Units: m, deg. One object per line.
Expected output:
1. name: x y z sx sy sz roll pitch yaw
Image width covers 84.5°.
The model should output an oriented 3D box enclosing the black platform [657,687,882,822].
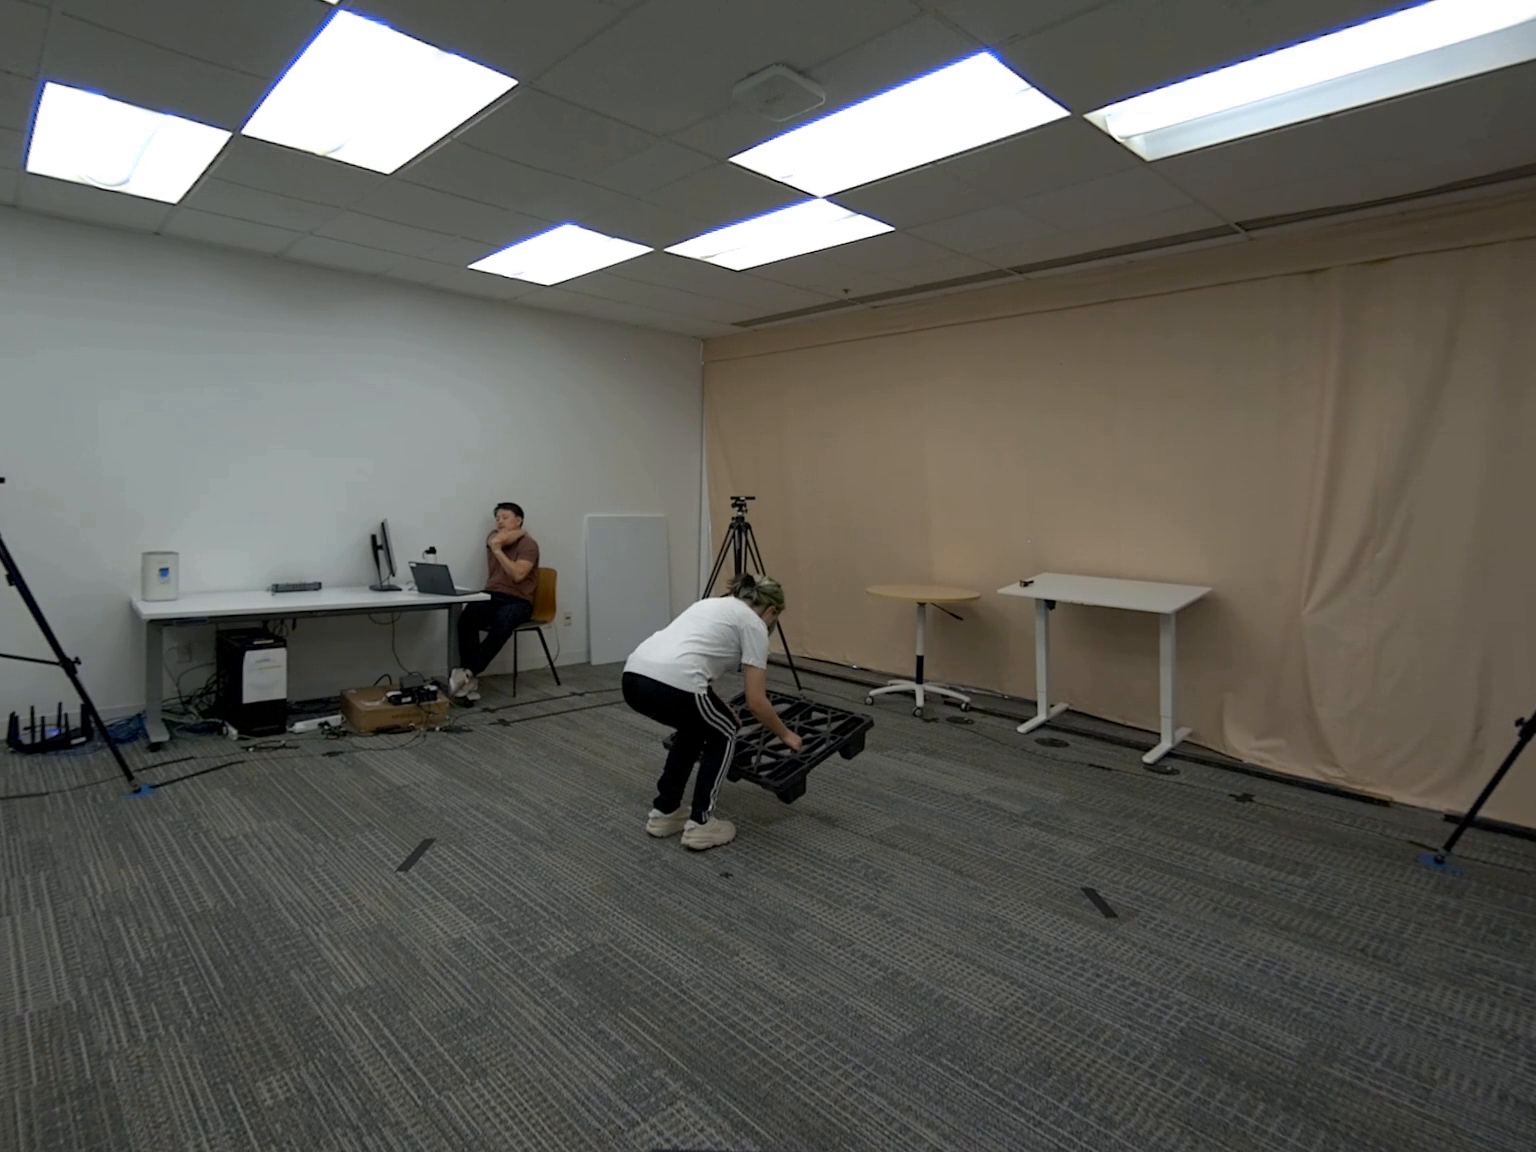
1. black platform: -0.011 0.750 3.771 0.598 0.141 0.826 -27 21 -35
